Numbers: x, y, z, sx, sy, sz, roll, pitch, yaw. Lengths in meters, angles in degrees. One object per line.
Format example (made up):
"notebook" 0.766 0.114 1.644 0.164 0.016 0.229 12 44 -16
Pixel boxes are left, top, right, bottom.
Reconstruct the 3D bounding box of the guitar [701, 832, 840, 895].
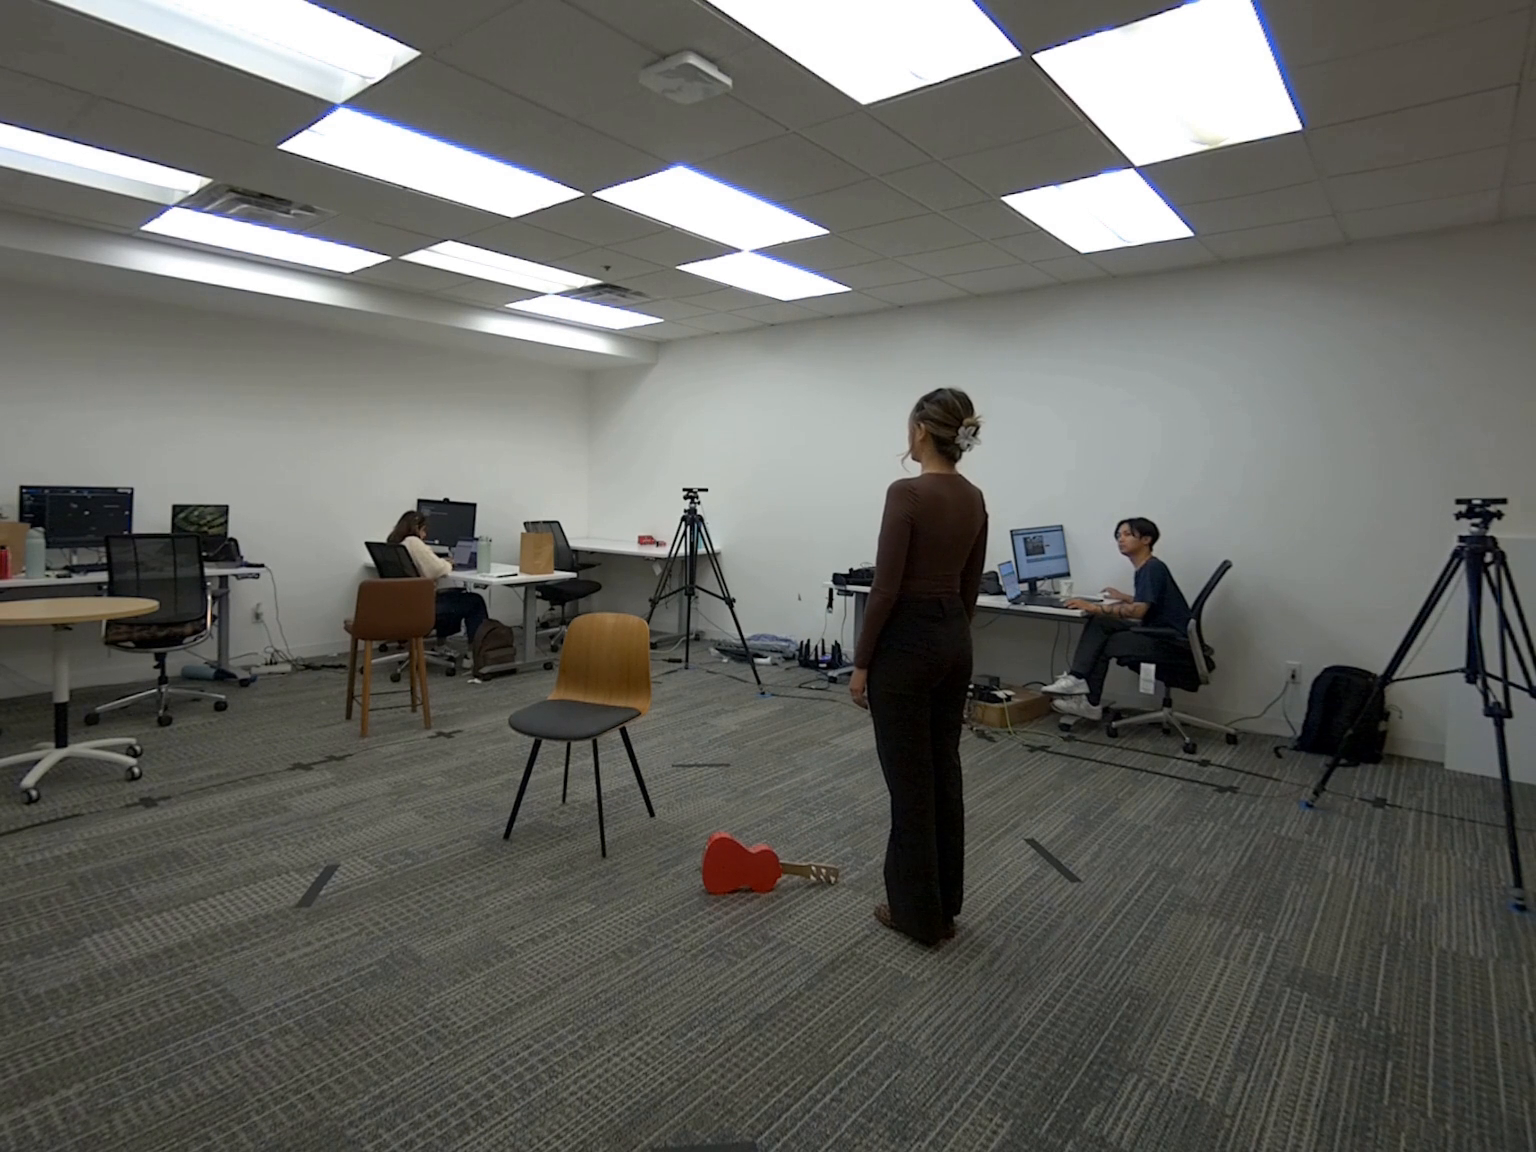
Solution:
"guitar" 0.009 0.994 2.977 0.493 0.193 0.071 0 -1 -9
